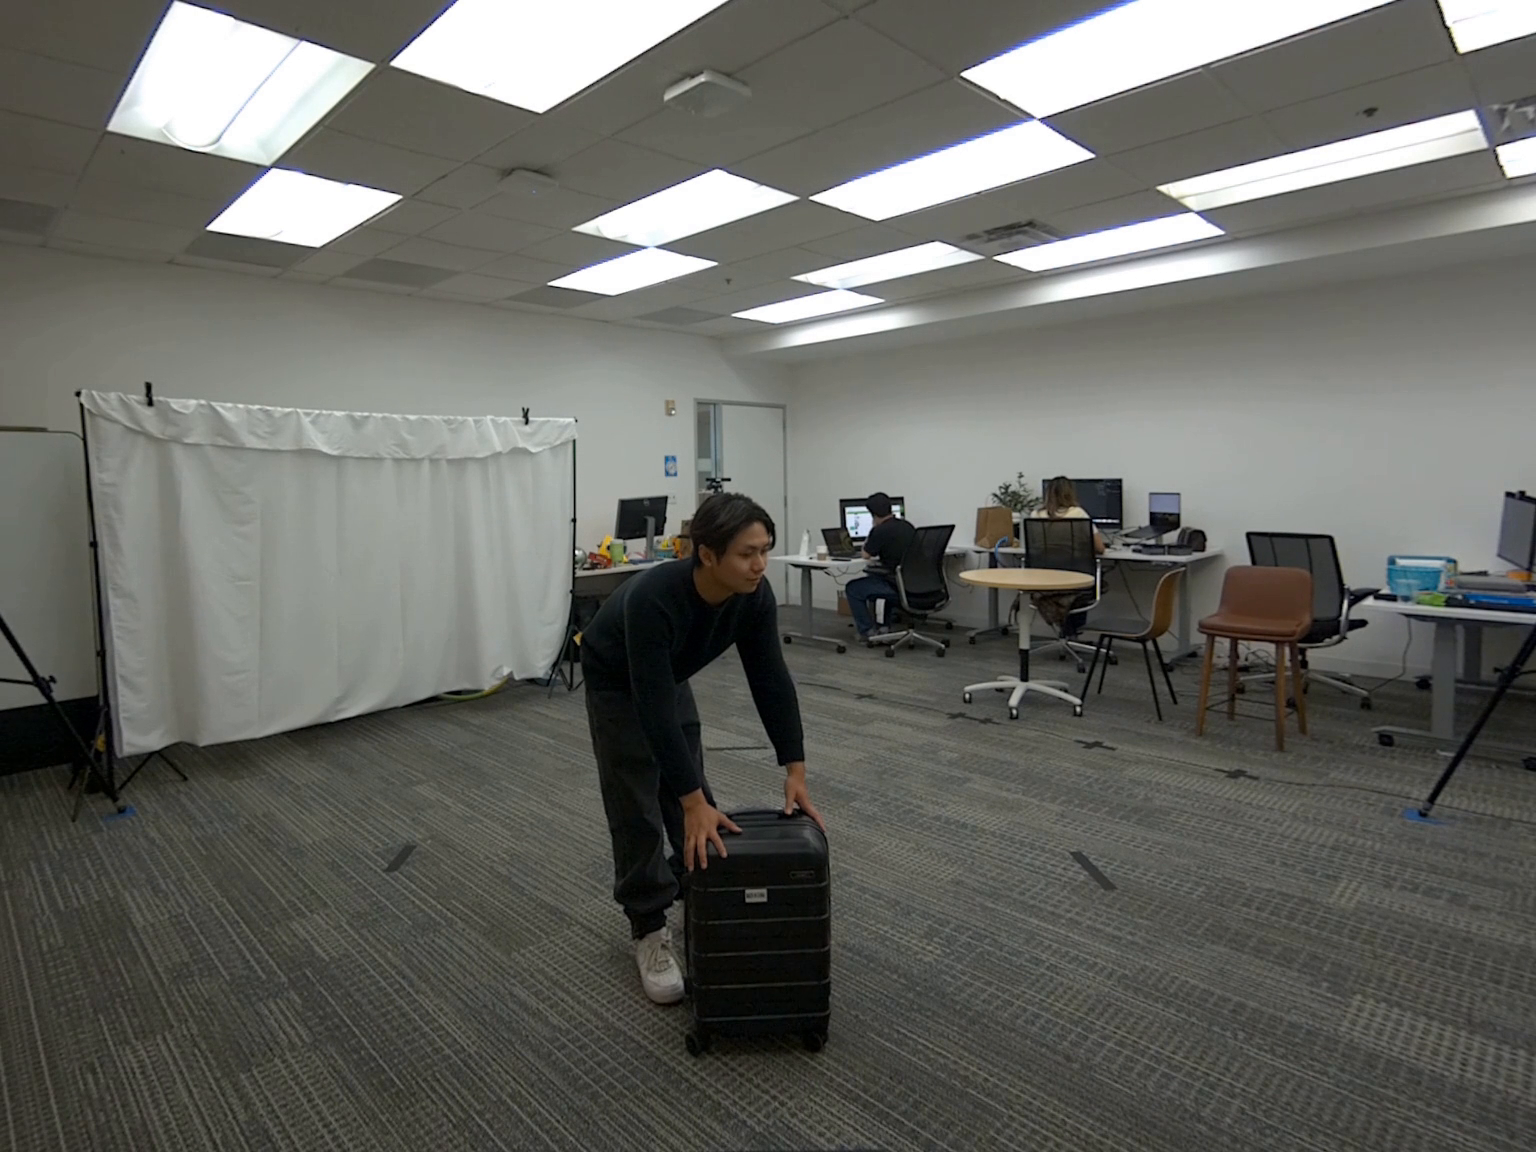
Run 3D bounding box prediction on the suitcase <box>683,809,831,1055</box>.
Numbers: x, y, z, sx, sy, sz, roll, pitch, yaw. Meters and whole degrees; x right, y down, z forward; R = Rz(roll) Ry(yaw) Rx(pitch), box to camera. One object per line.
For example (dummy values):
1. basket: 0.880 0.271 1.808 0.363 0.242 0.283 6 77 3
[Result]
1. suitcase: -0.016 0.877 2.159 0.374 0.547 0.250 -1 4 -3
